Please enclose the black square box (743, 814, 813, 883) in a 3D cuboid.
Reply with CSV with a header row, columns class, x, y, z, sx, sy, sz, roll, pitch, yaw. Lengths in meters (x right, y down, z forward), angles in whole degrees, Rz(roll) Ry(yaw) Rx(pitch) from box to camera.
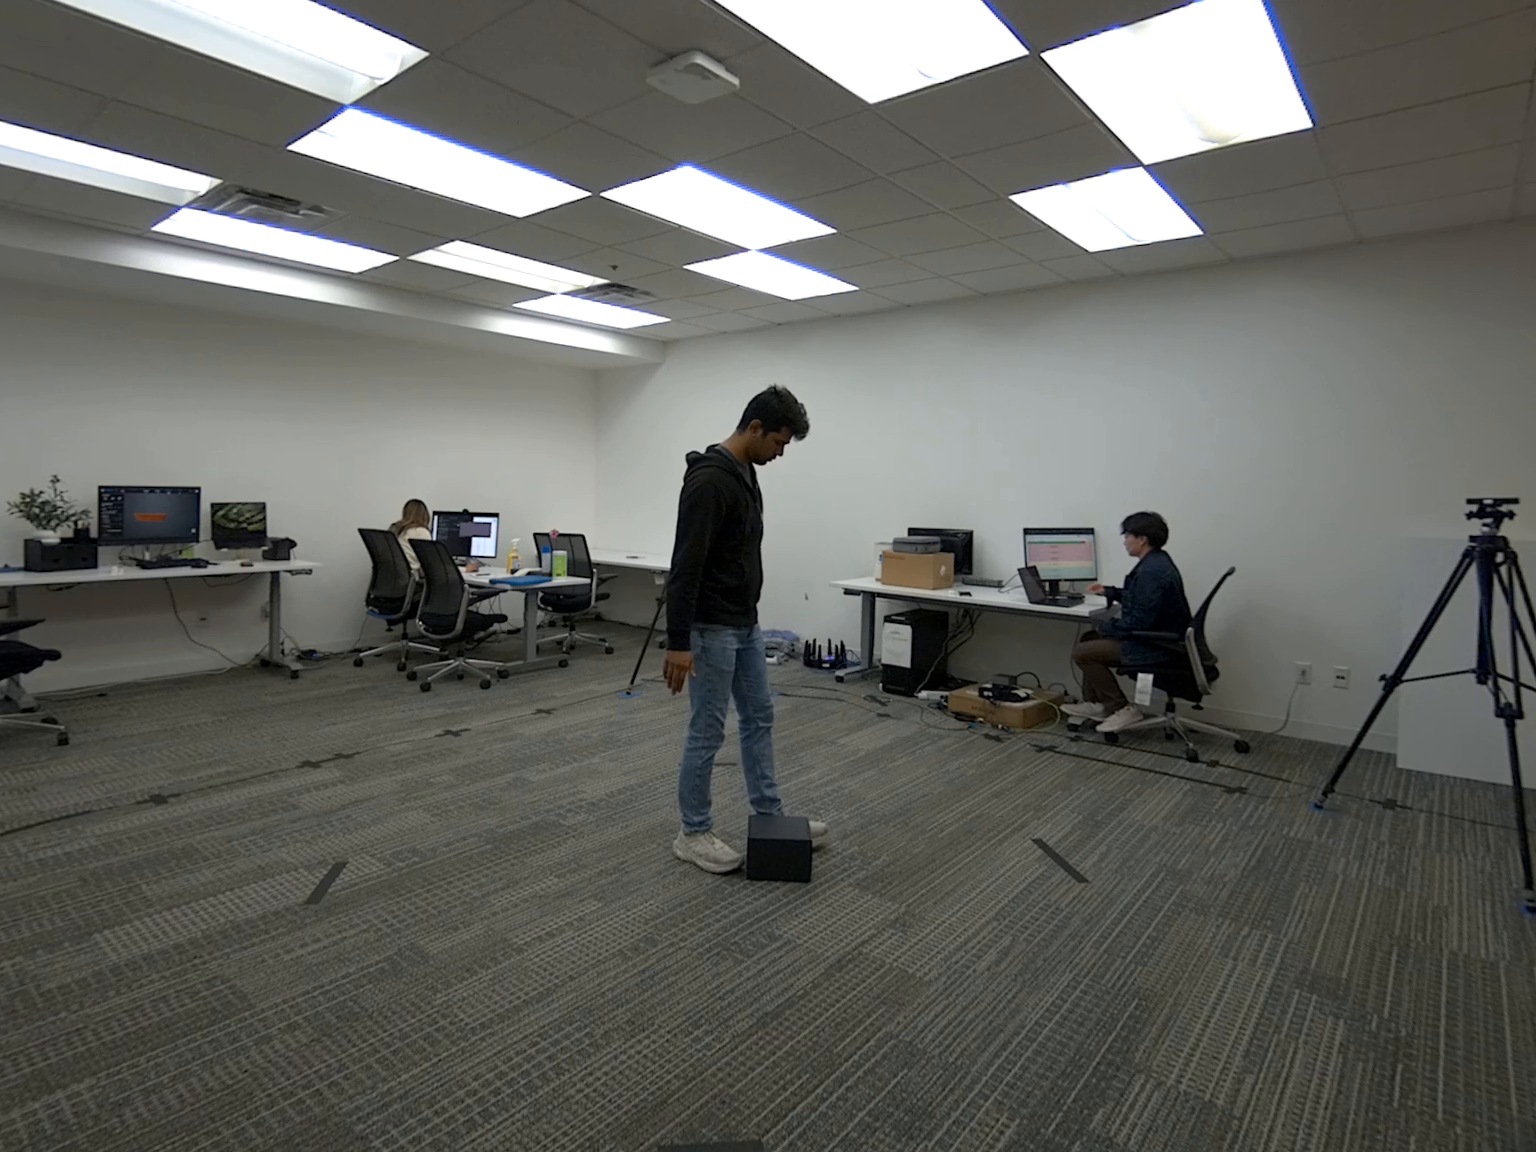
class,x,y,z,sx,sy,sz,roll,pitch,yaw
black square box,0.027,0.986,3.121,0.228,0.155,0.218,1,4,0
